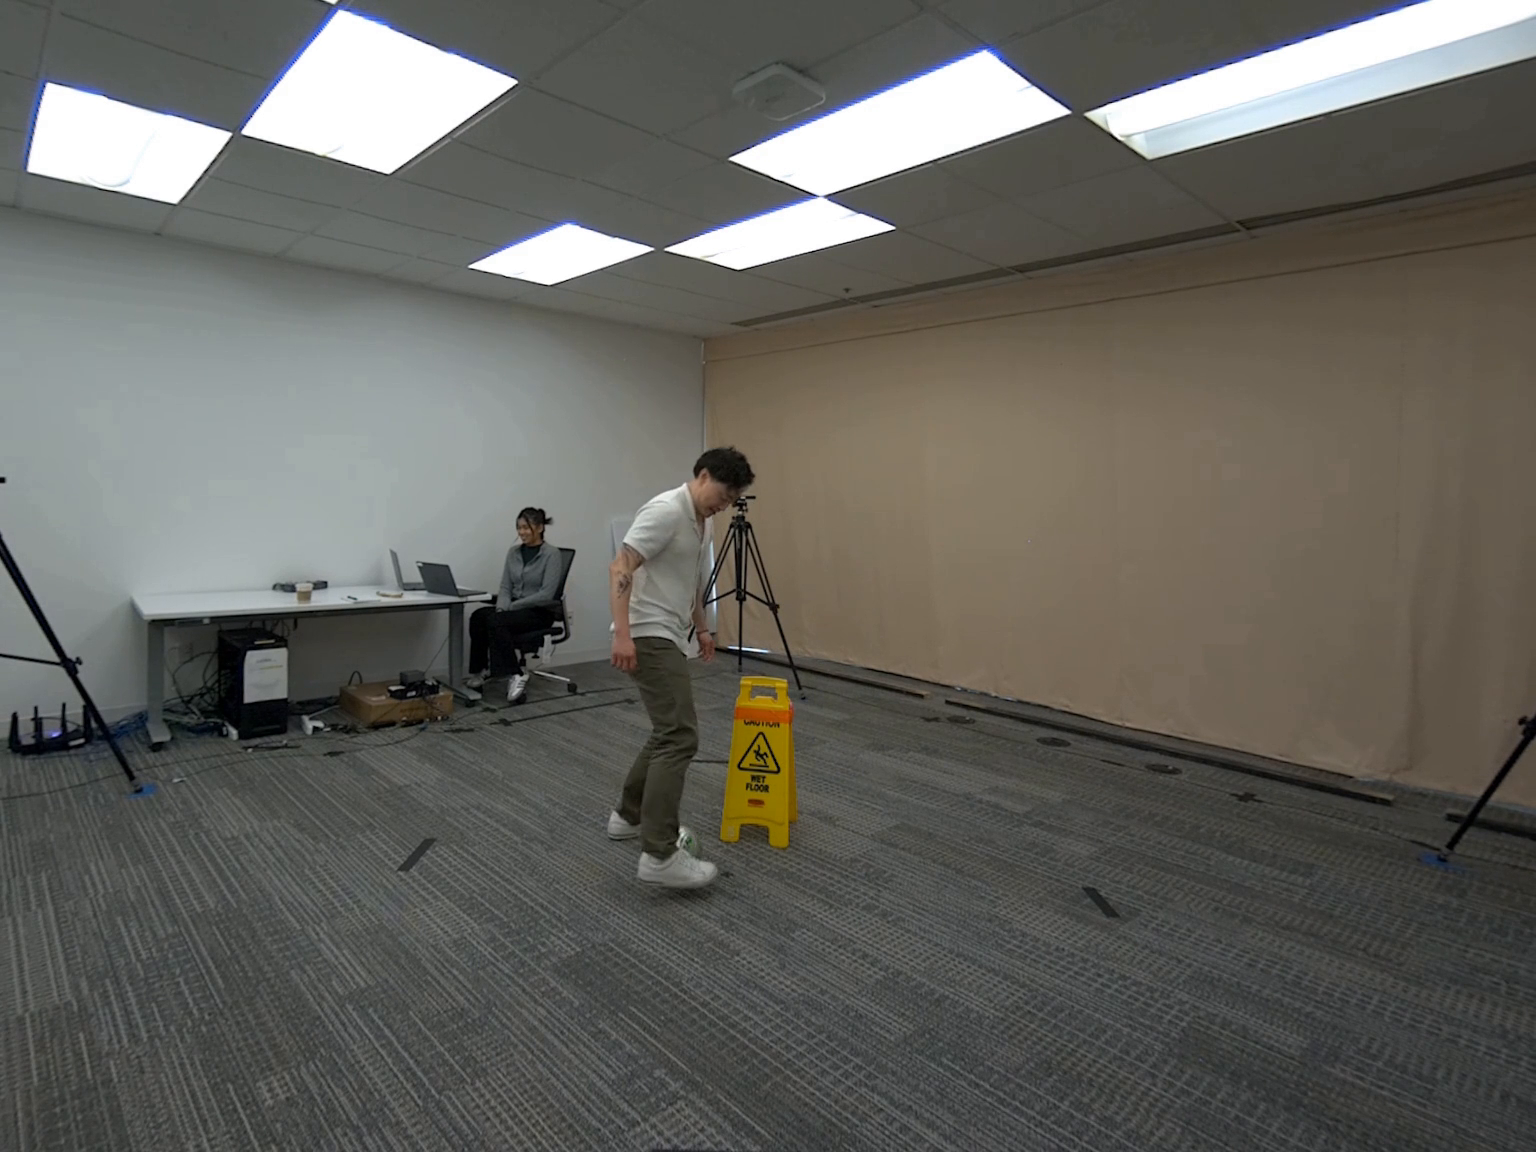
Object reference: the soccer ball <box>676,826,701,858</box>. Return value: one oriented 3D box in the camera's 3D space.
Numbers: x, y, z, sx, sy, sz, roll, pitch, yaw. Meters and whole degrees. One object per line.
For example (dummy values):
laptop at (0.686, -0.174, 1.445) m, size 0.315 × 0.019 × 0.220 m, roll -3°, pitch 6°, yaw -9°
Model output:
soccer ball at (-0.341, 1.006, 3.110) m, size 0.187 × 0.187 × 0.188 m, roll 1°, pitch 4°, yaw -1°
